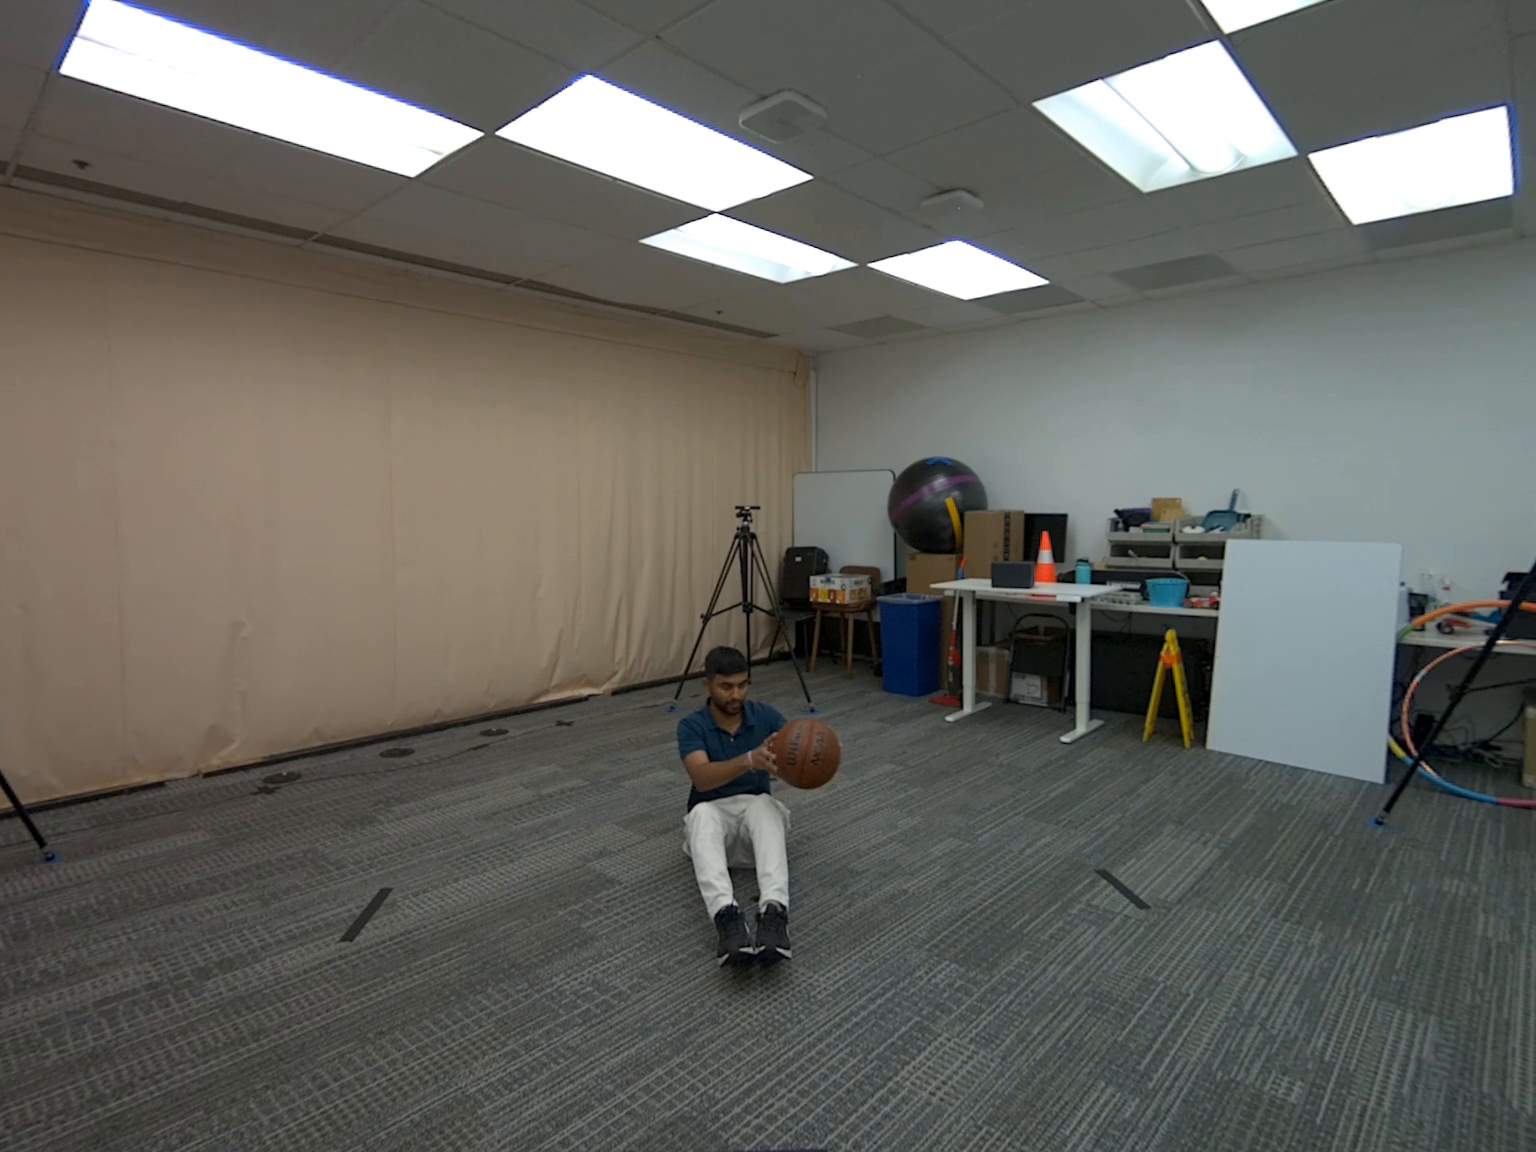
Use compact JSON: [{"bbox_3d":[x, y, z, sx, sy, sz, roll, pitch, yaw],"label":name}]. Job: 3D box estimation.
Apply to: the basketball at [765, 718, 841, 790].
[{"bbox_3d":[0.116,0.612,2.892,0.236,0.235,0.237,0,4,-2],"label":"basketball"}]
